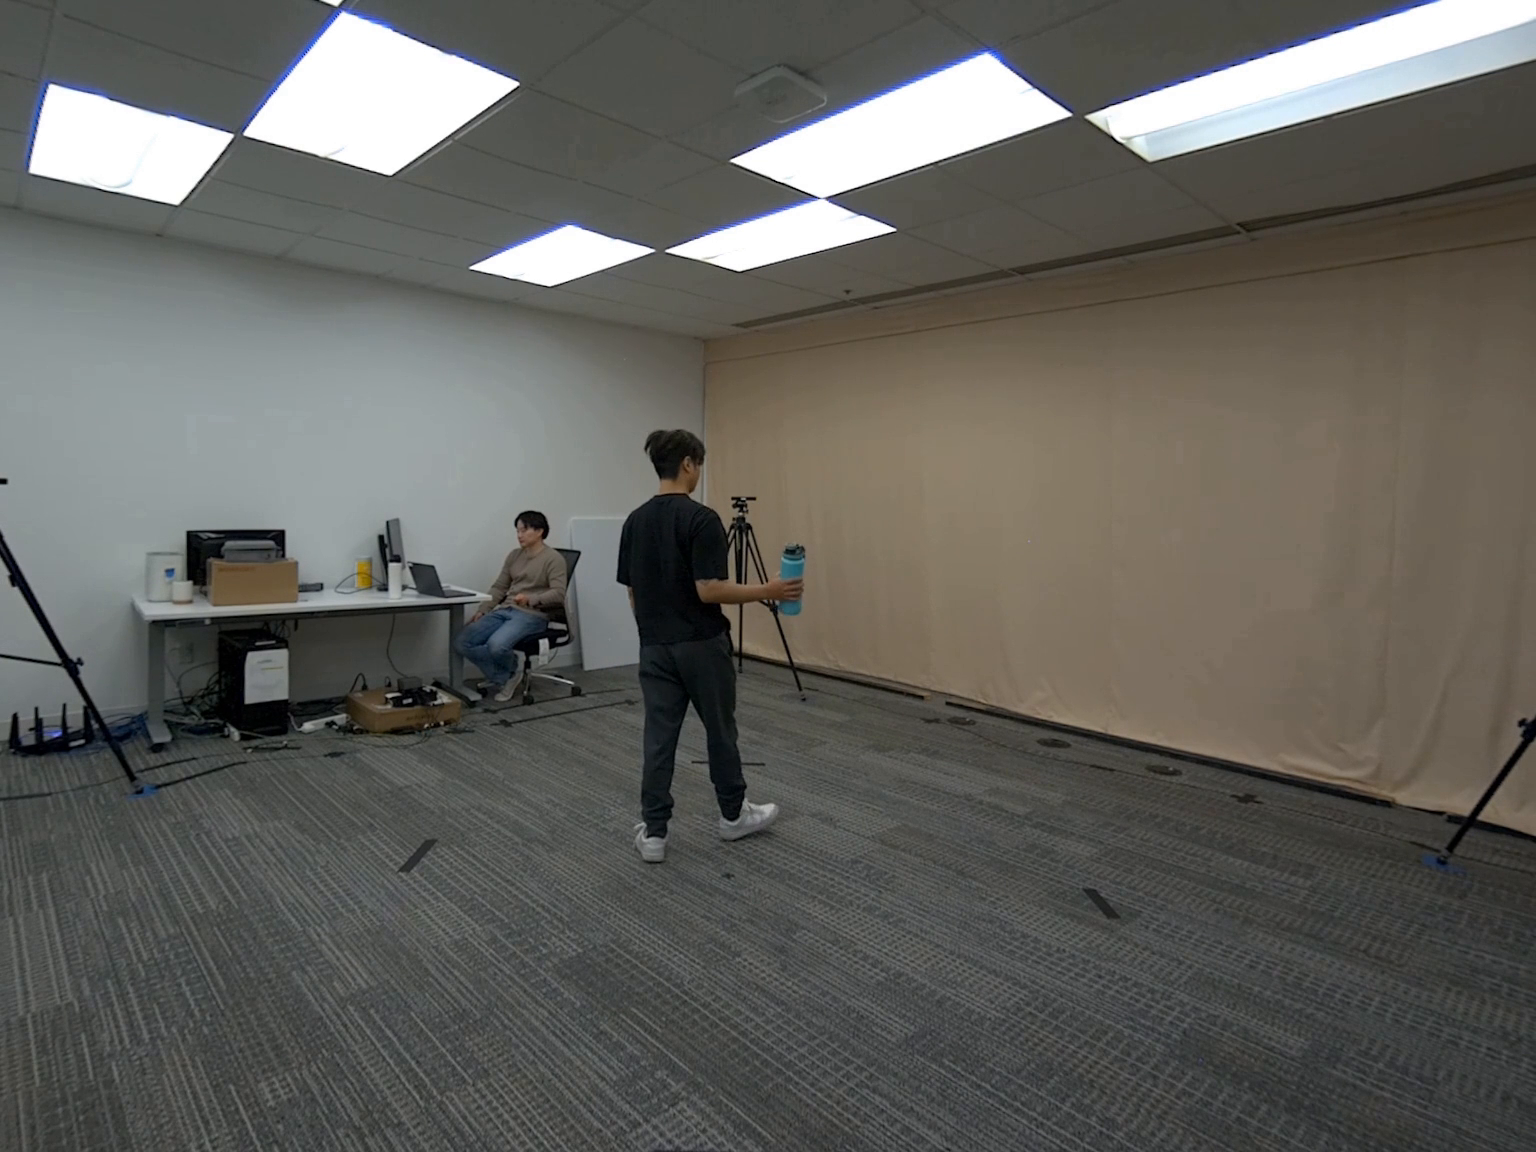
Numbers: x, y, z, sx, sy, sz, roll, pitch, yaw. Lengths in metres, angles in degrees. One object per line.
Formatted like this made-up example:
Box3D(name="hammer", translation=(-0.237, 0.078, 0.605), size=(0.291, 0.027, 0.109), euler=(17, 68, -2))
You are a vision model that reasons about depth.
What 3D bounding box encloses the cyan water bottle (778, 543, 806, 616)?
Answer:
Box3D(name="cyan water bottle", translation=(0.087, 0.006, 3.214), size=(0.092, 0.280, 0.094), euler=(4, 21, -3))
